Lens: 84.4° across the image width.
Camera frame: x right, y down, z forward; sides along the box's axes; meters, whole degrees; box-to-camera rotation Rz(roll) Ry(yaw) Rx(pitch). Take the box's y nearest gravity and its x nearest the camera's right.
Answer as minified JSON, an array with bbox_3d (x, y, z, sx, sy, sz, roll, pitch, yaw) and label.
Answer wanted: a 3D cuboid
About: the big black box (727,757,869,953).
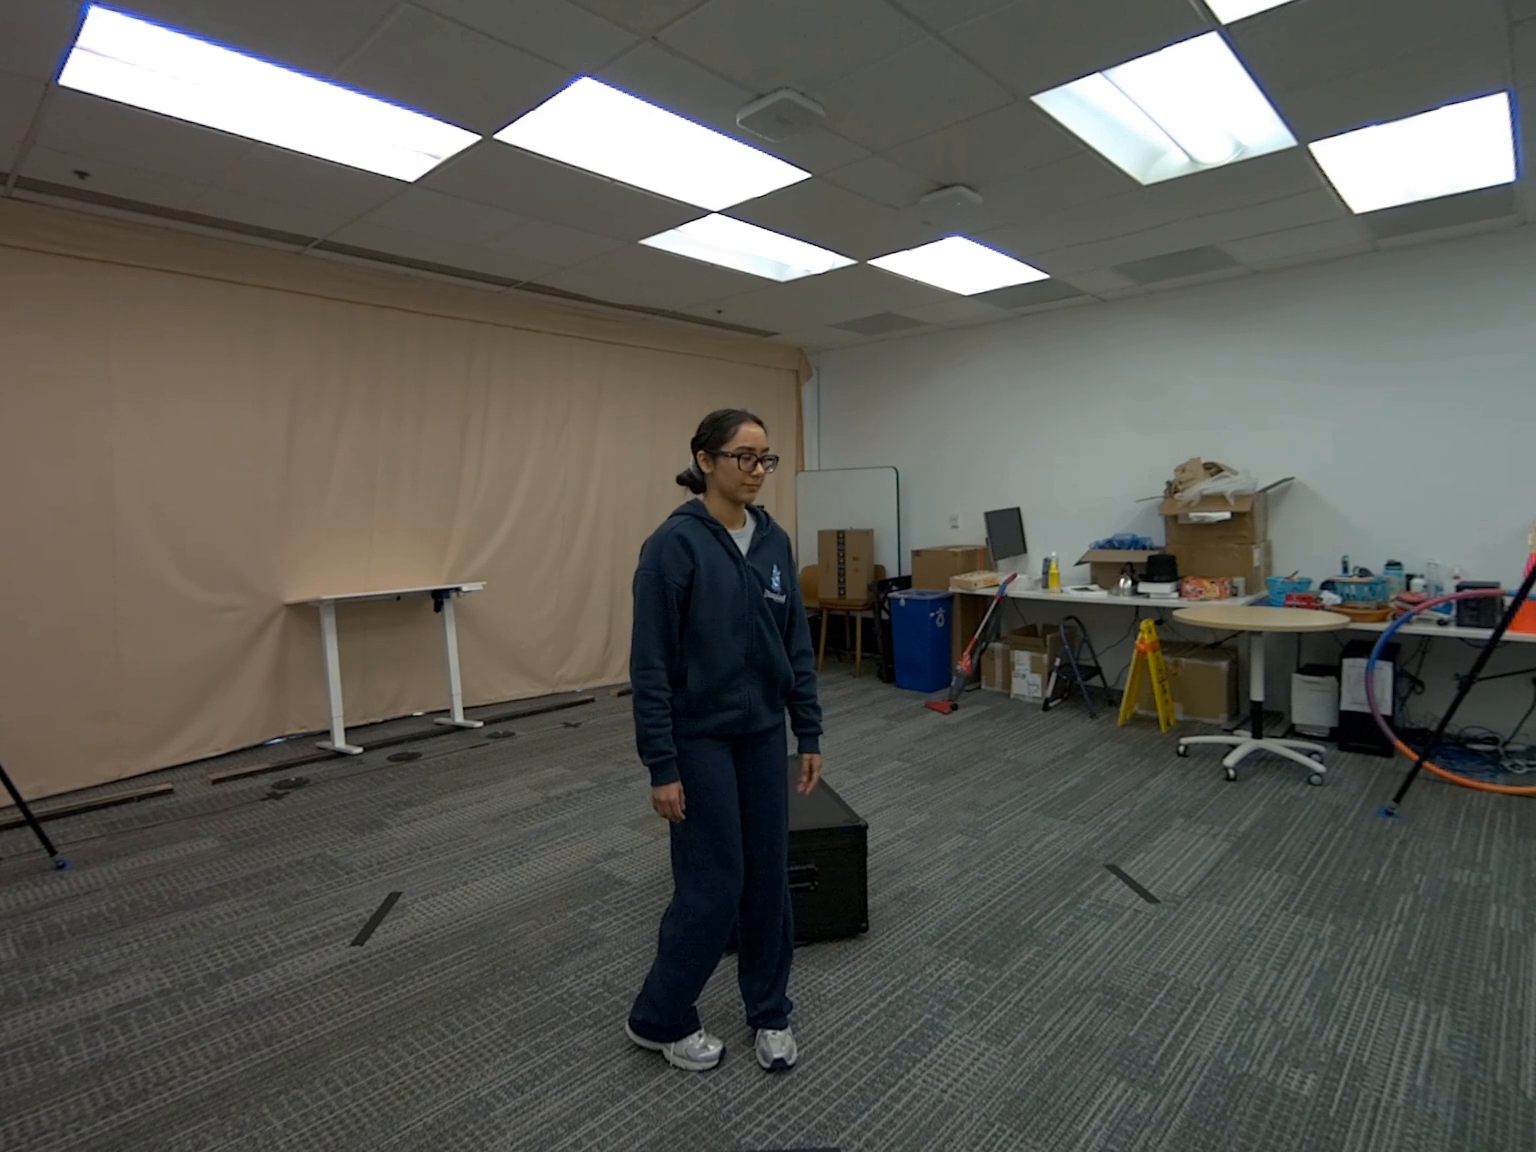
[{"bbox_3d":[-0.013,0.944,3.044,0.514,0.395,0.875,-2,5,-14],"label":"big black box"}]
